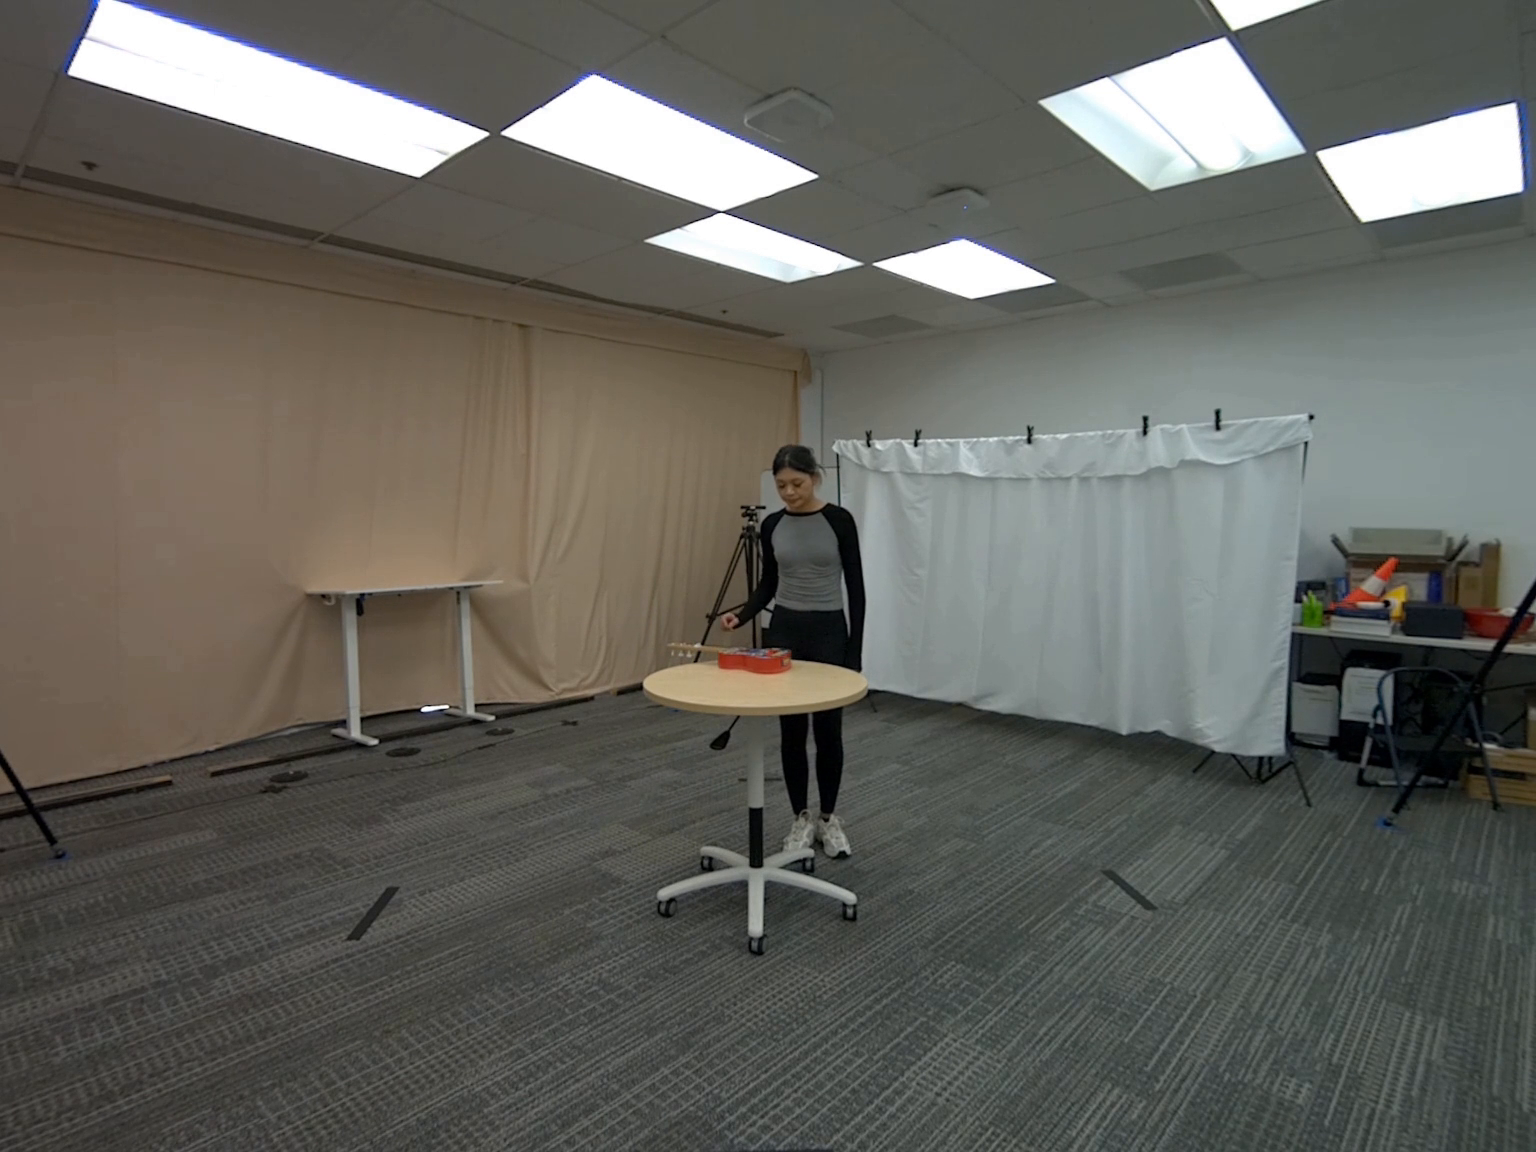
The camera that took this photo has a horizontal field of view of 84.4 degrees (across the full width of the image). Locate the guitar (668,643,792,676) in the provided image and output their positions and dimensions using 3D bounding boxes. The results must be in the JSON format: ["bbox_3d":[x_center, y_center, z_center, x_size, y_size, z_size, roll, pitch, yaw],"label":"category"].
[{"bbox_3d":[-0.147,0.300,3.185,0.513,0.070,0.188,3,7,33],"label":"guitar"}]
